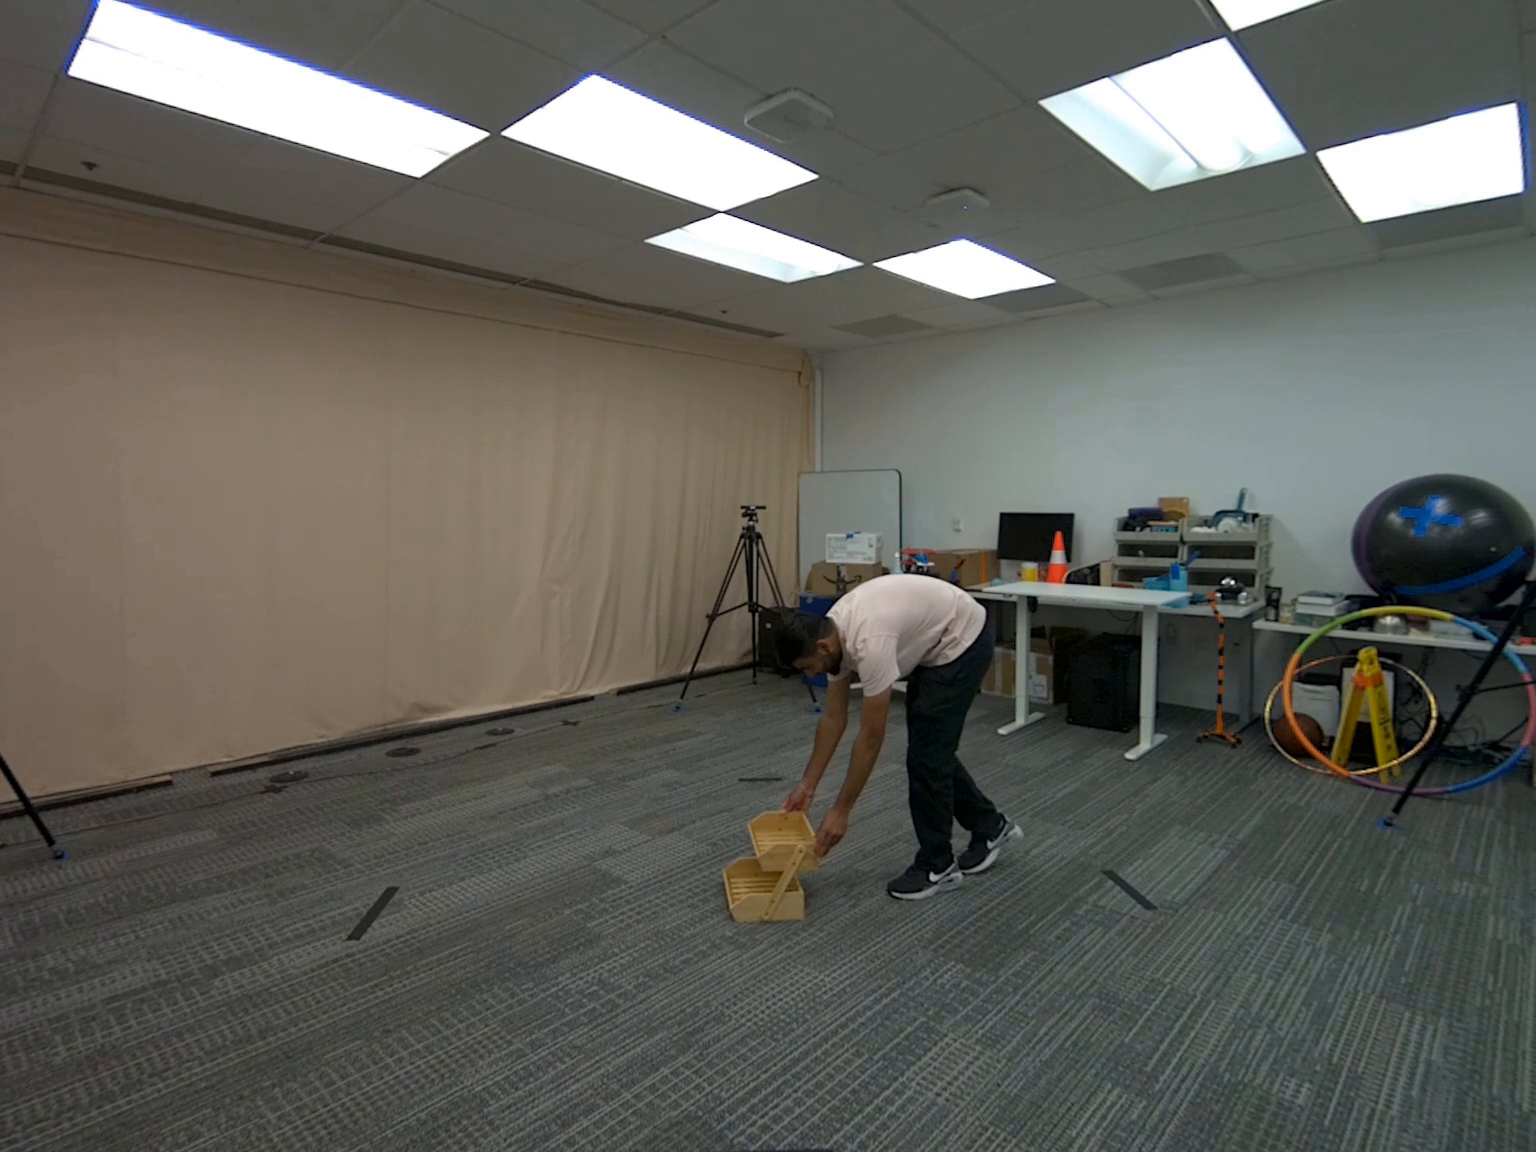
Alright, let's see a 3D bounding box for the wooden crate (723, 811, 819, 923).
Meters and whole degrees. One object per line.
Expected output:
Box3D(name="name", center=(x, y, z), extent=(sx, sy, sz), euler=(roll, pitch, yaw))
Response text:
Box3D(name="wooden crate", center=(-0.007, 1.019, 2.965), extent=(0.301, 0.272, 0.327), euler=(-2, 5, -5))
